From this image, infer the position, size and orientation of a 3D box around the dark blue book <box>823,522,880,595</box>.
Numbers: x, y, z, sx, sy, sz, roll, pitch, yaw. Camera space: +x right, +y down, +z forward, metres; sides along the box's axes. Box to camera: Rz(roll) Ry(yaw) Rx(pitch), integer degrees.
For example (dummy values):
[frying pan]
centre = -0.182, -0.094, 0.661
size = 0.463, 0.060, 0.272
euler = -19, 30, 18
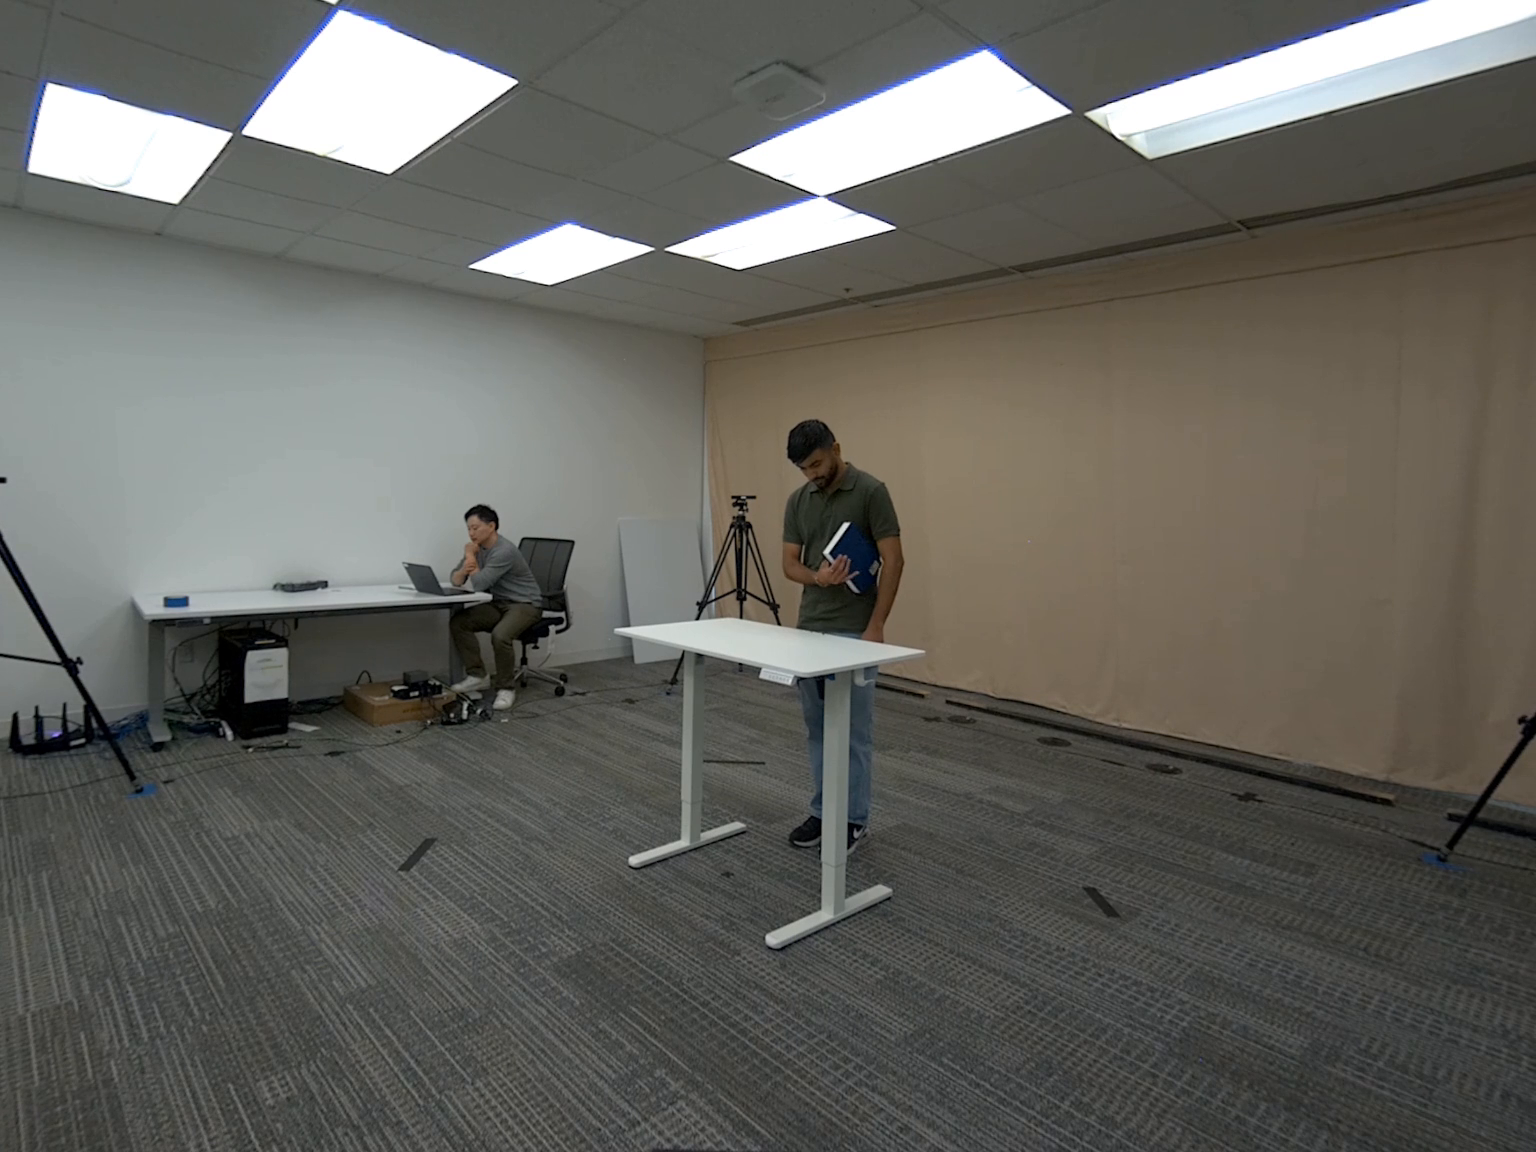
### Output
[dark blue book]
centre = 0.302, -0.064, 3.223
size = 0.046, 0.164, 0.238
euler = 12, -31, 52
